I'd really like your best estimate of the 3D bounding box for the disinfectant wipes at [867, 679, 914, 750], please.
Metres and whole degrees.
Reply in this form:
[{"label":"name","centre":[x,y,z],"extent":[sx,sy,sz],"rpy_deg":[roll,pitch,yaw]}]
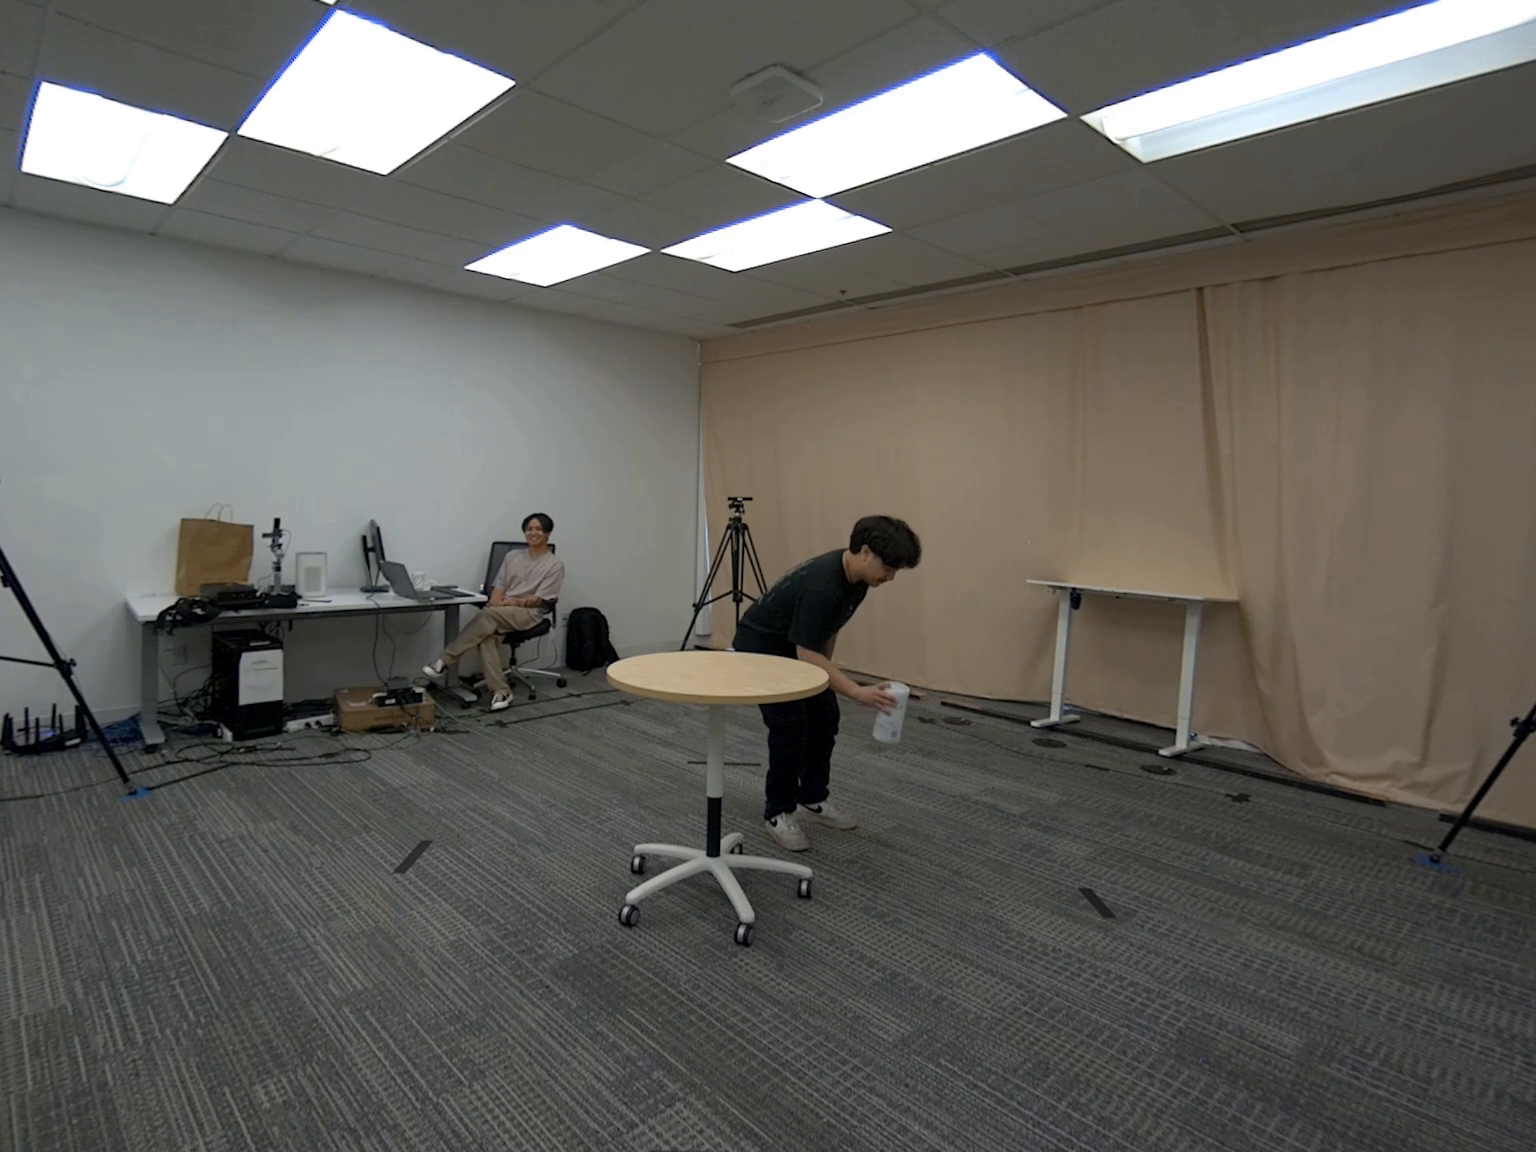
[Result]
[{"label":"disinfectant wipes","centre":[0.463,0.522,3.212],"extent":[0.117,0.216,0.119],"rpy_deg":[8,11,-3]}]
